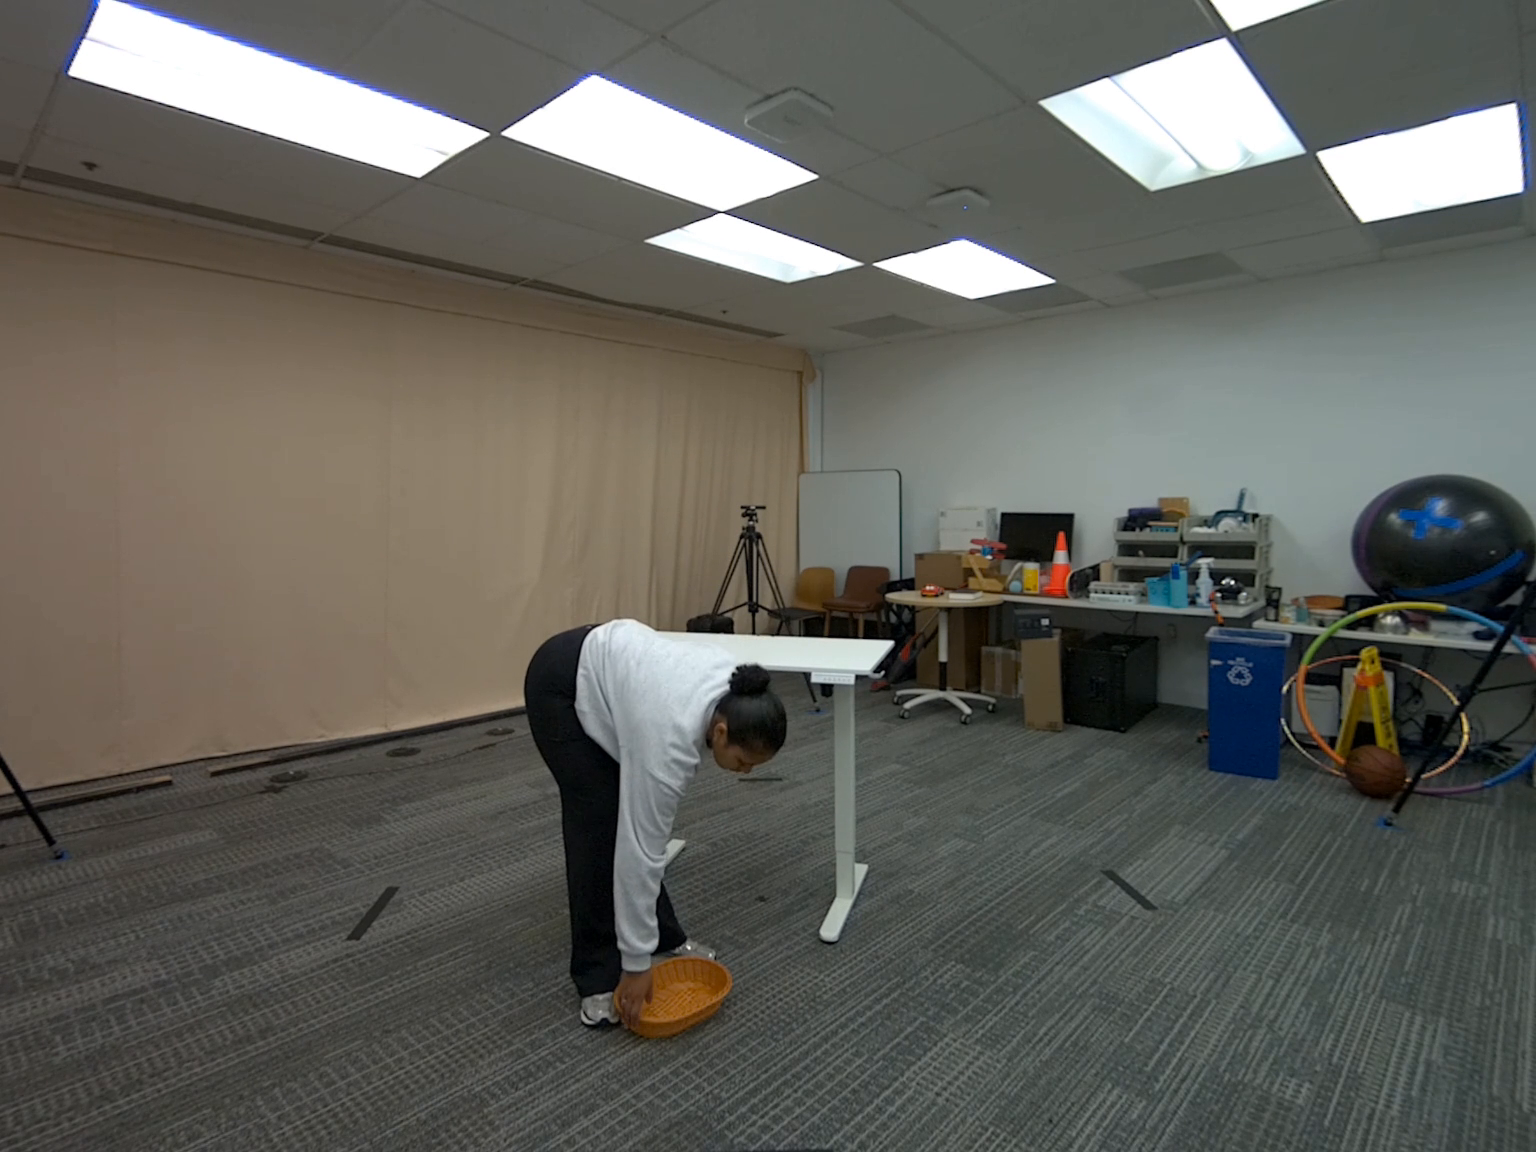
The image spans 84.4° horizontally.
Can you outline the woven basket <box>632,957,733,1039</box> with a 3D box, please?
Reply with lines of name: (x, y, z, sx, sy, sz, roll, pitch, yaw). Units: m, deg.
woven basket: (-0.250, 1.159, 2.314, 0.339, 0.073, 0.261, -3, 6, -41)
